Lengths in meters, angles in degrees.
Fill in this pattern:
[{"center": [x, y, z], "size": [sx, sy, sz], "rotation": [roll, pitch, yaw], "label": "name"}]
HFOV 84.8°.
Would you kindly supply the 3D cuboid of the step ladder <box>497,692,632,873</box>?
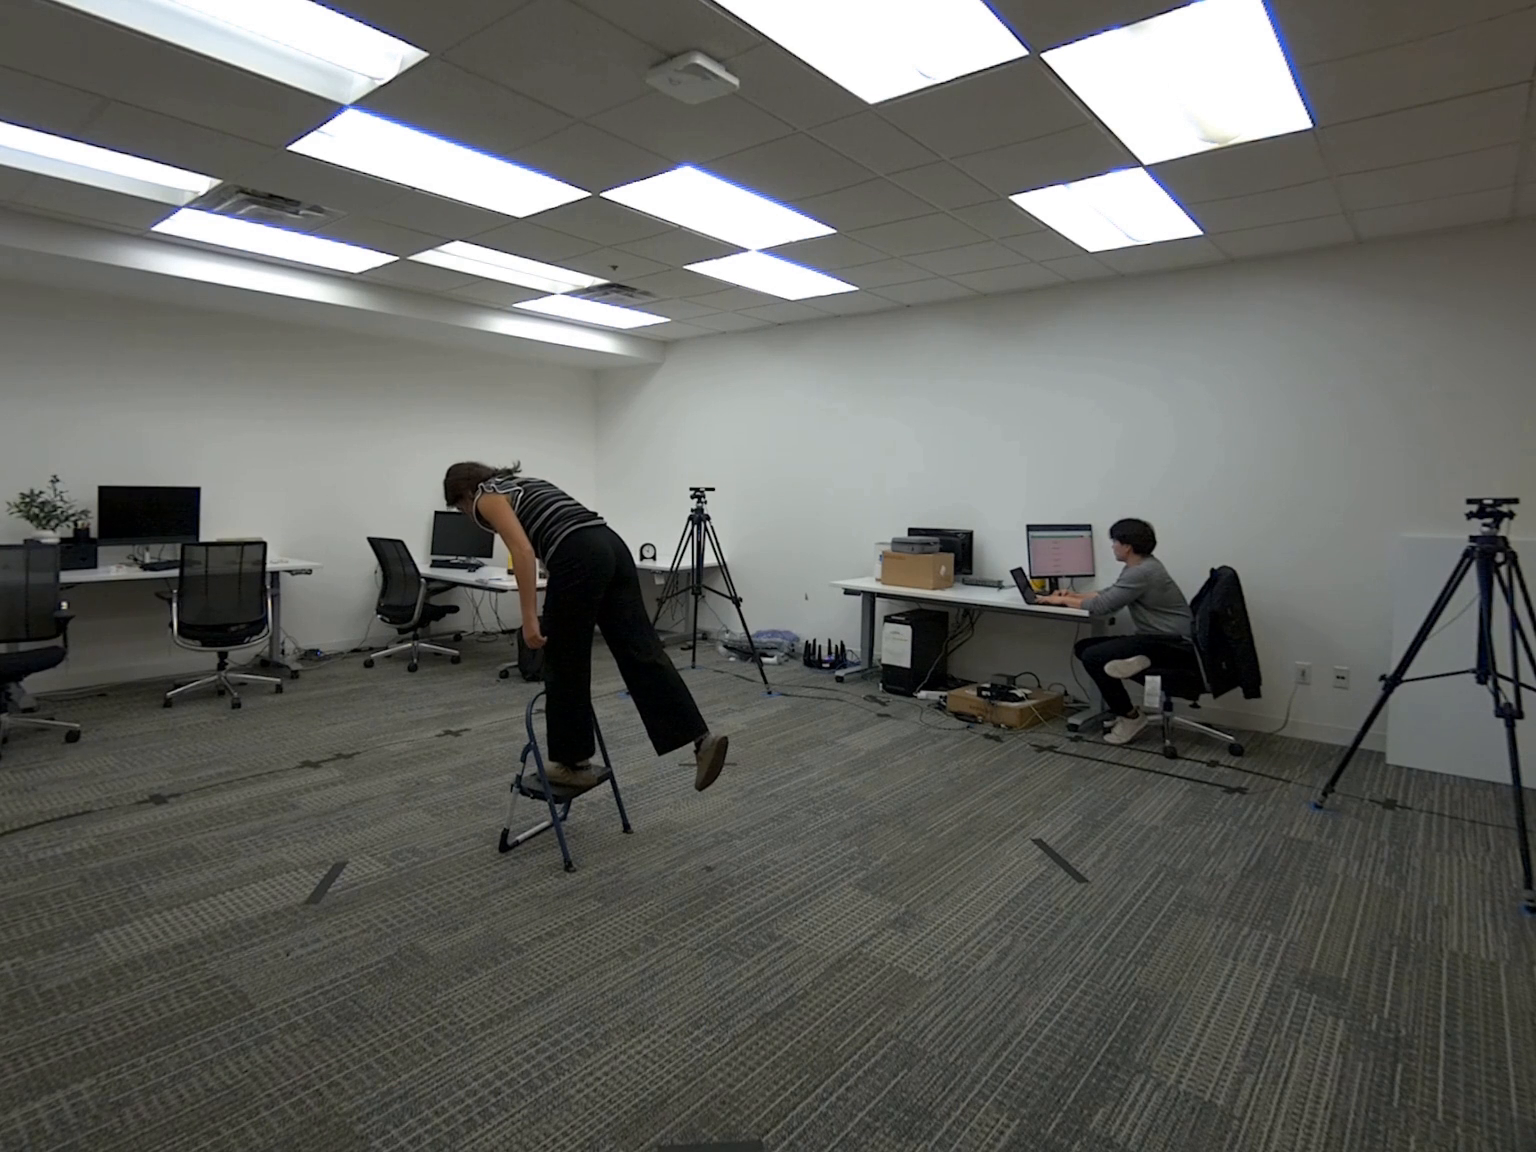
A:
[{"center": [-0.788, 0.736, 3.310], "size": [0.358, 0.605, 0.421], "rotation": [3, 3, 24], "label": "step ladder"}]
